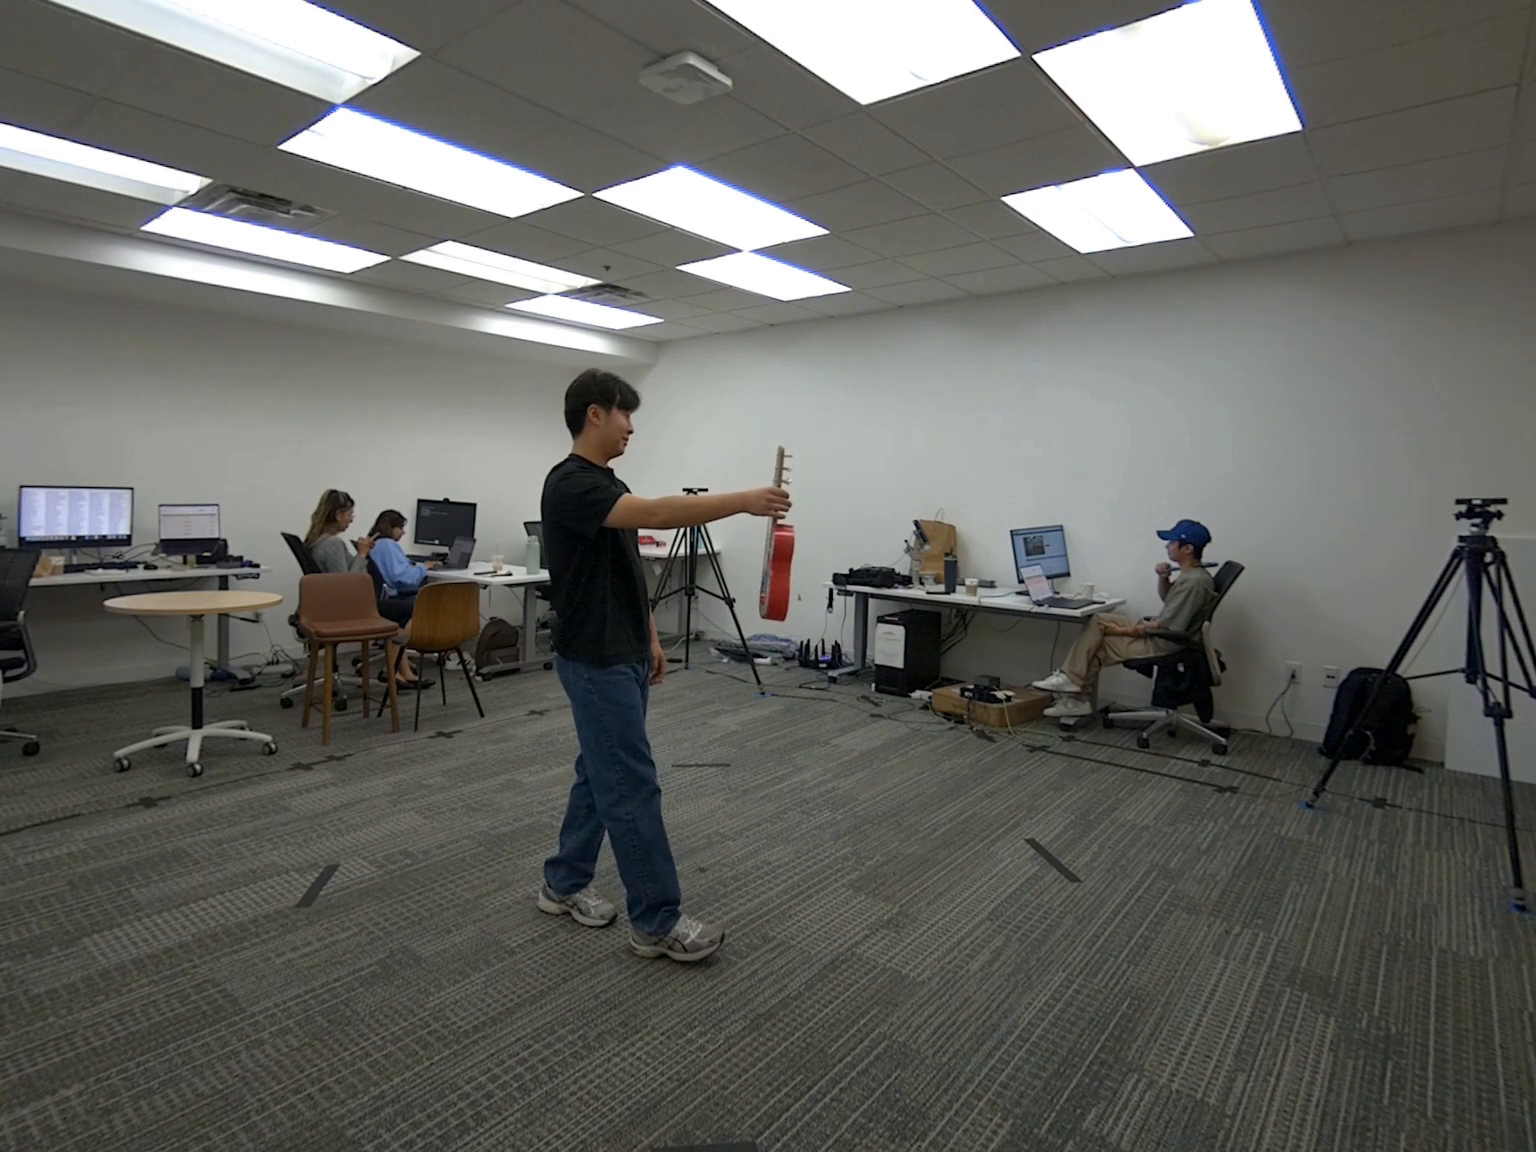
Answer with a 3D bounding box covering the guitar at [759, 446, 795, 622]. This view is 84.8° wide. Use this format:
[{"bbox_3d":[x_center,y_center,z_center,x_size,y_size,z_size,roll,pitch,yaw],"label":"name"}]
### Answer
[{"bbox_3d":[0.029,-0.116,2.413,0.070,0.494,0.196,6,10,-8],"label":"guitar"}]
